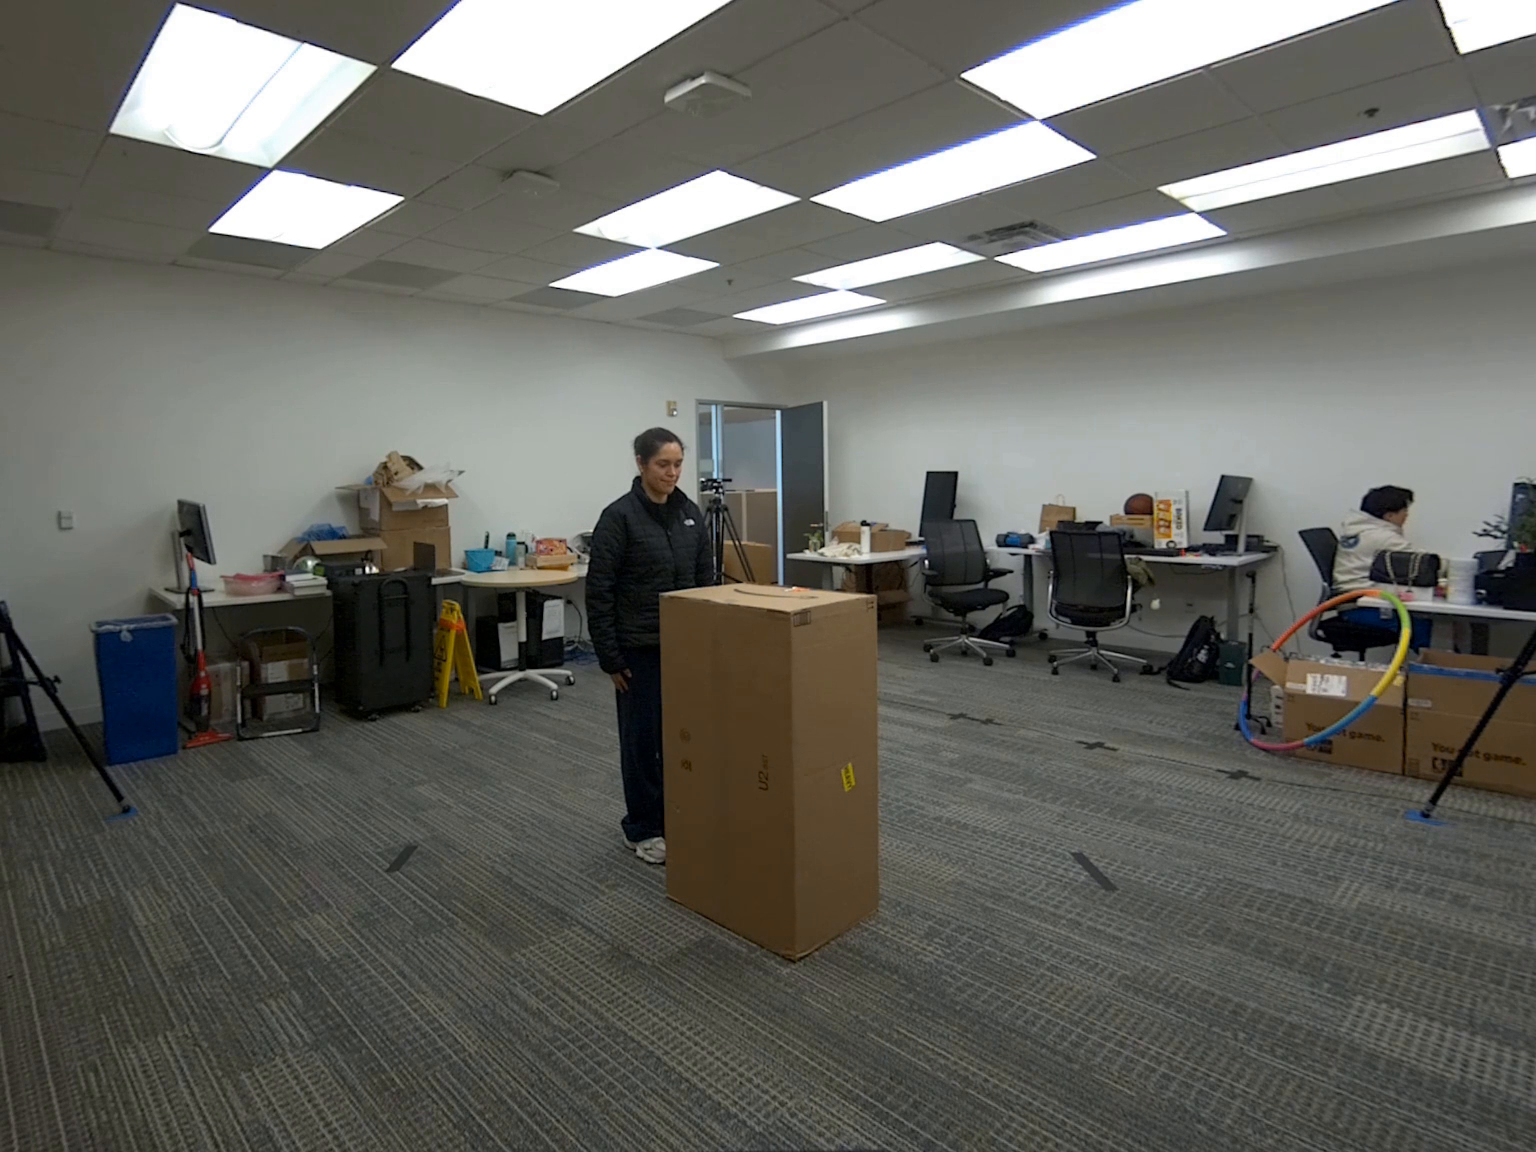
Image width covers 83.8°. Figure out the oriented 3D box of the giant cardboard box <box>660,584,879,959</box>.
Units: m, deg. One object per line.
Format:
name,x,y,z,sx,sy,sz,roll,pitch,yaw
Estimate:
giant cardboard box,0.005,0.571,2.790,0.595,1.022,0.415,3,5,44
